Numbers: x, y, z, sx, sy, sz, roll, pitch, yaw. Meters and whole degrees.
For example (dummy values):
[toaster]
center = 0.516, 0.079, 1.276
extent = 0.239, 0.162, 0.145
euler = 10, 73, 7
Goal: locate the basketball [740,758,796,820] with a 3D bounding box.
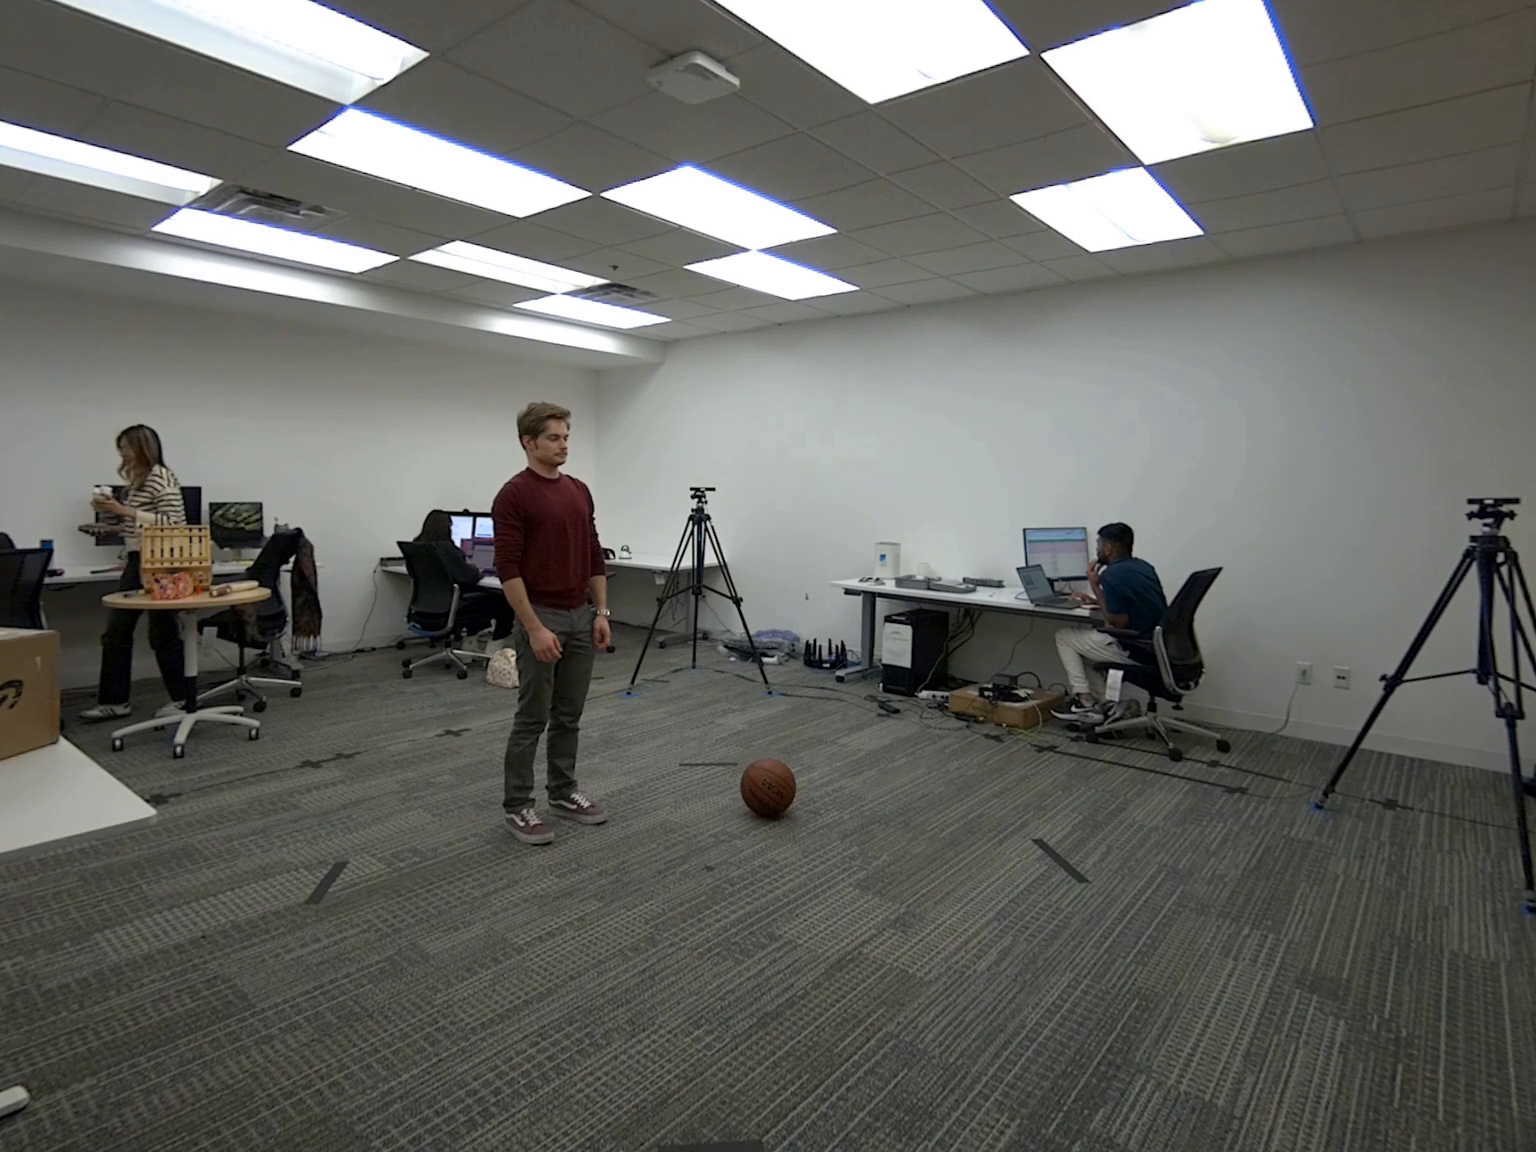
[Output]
[basketball]
center = -0.004, 0.899, 3.643
extent = 0.235, 0.235, 0.237
euler = 1, 4, -2
